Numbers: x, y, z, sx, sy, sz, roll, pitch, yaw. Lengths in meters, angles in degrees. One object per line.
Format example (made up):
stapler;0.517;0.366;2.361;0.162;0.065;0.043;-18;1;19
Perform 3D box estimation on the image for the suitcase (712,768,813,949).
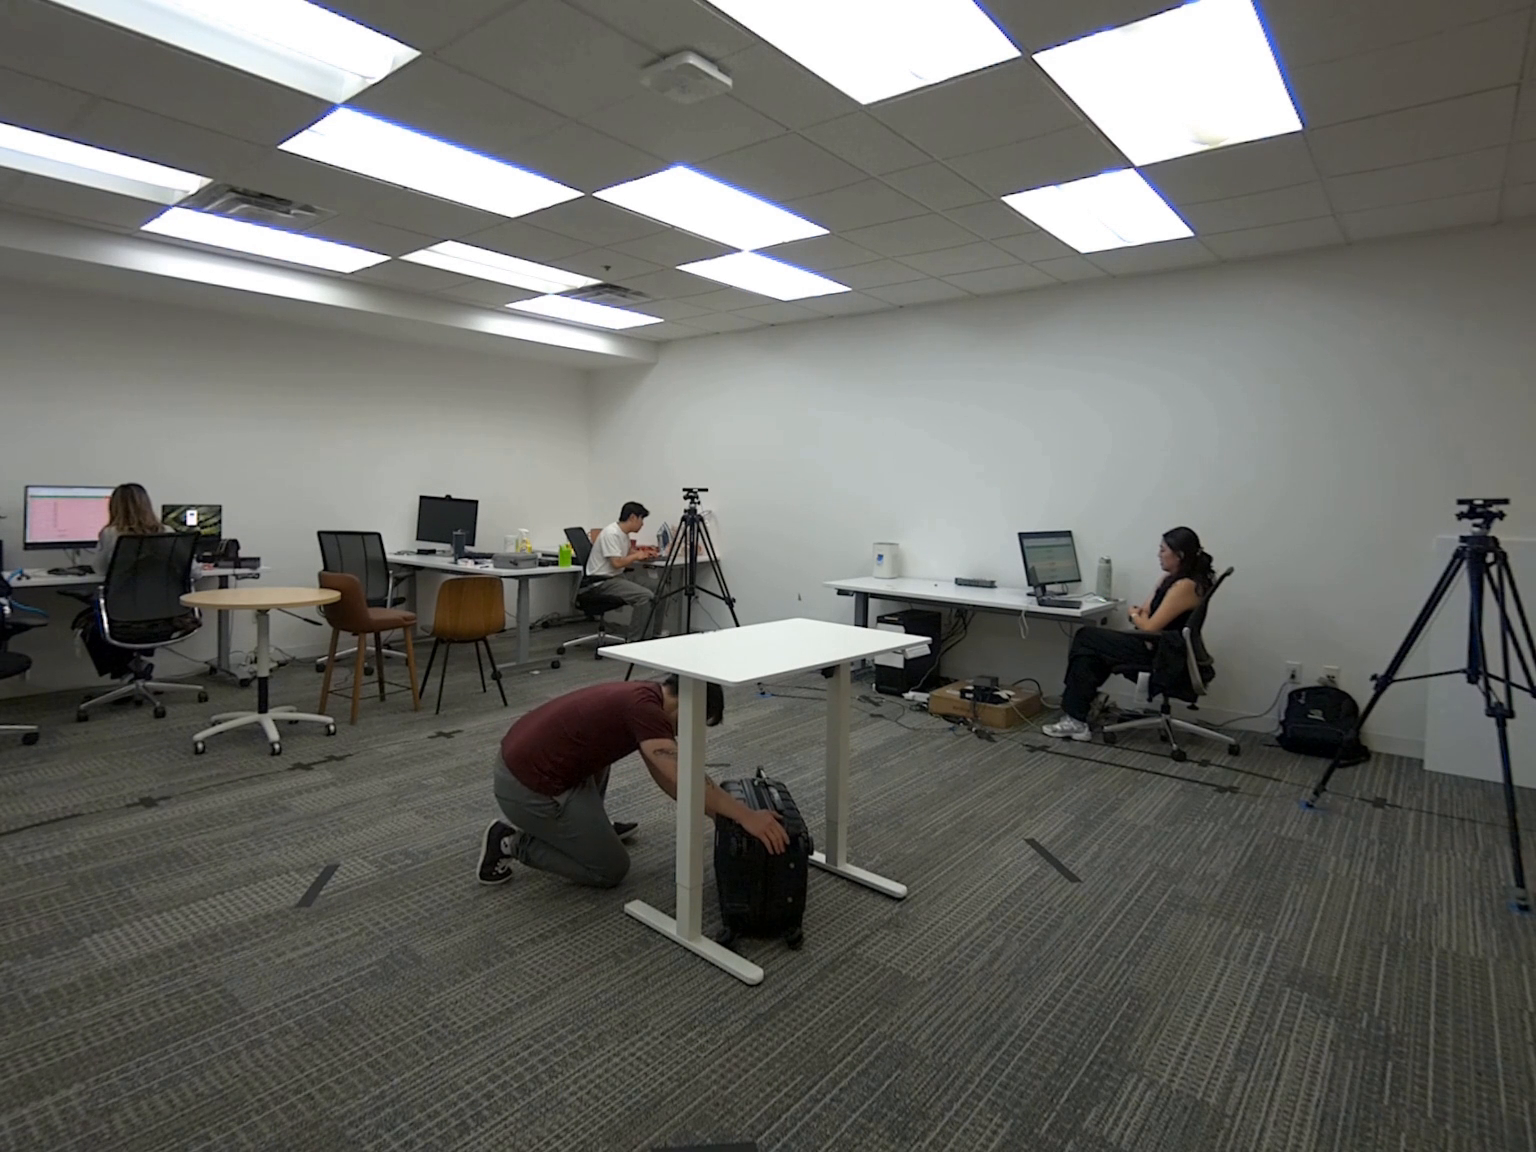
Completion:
suitcase;-0.084;0.893;3.026;0.254;0.383;0.992;5;5;-10
